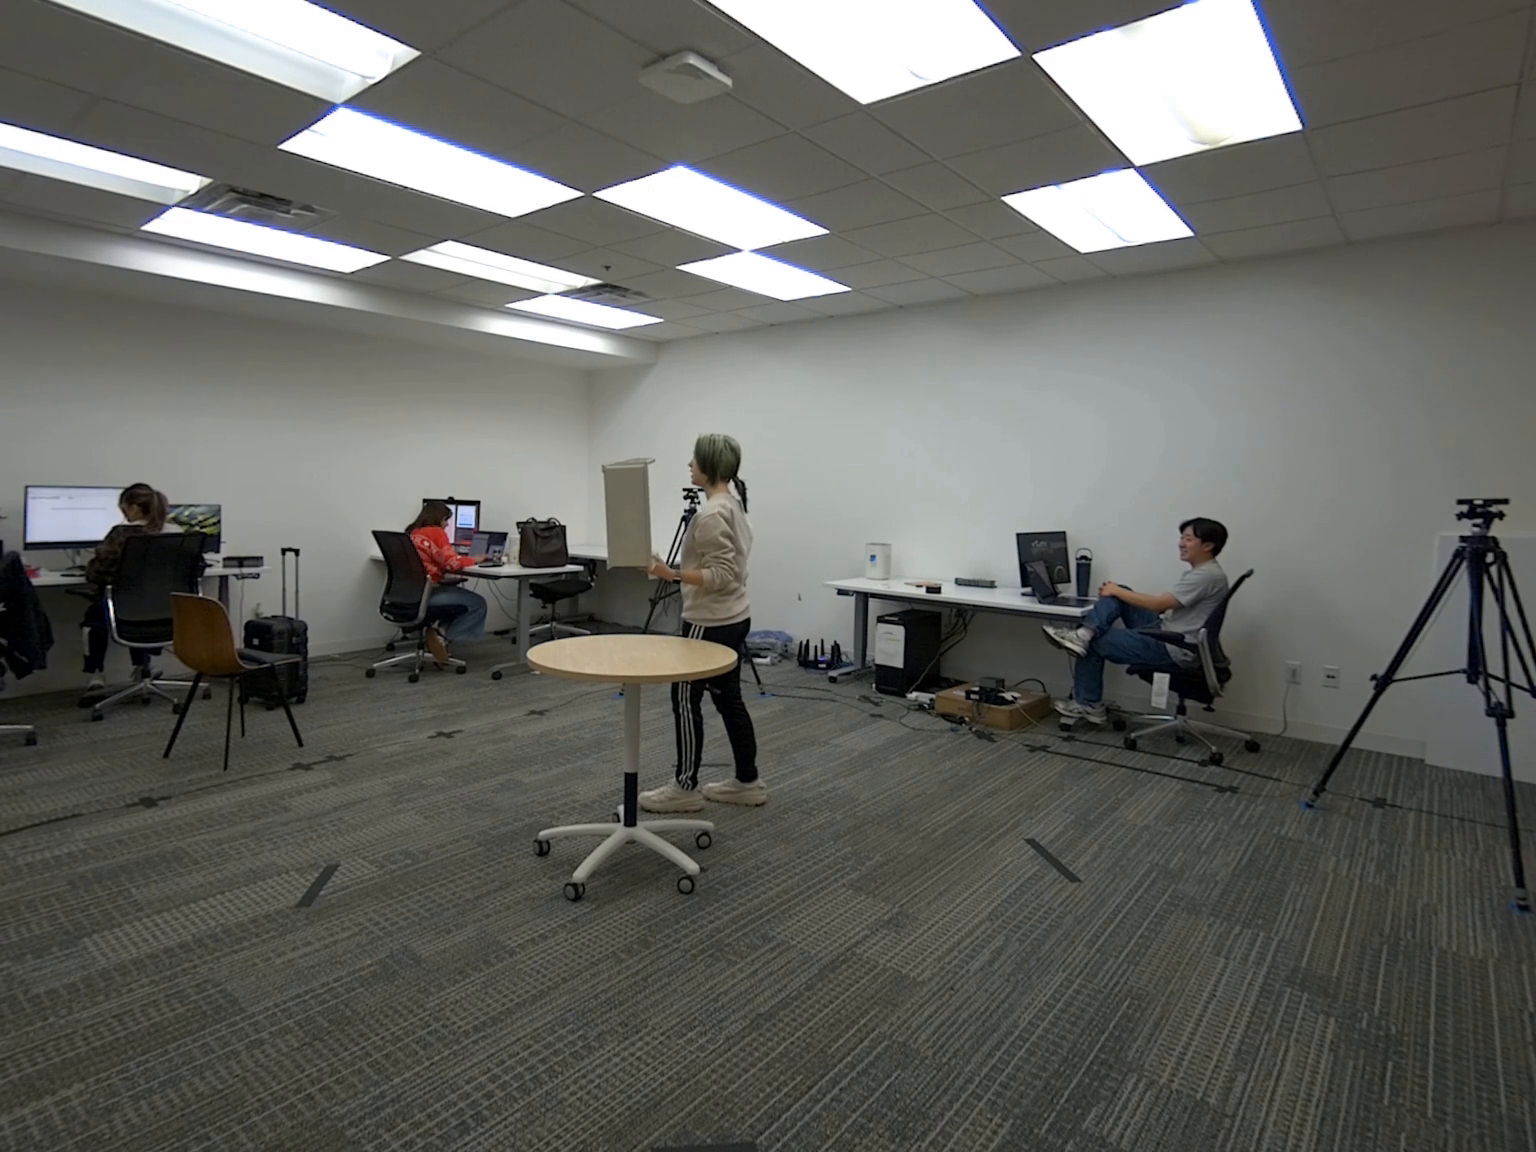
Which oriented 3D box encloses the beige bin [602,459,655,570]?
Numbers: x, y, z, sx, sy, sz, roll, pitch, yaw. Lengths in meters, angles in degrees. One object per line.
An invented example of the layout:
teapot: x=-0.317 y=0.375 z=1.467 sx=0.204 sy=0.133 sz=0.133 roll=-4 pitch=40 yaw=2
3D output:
beige bin: x=-0.544 y=-0.264 z=3.443 sx=0.189 sy=0.419 sz=0.380 roll=0 pitch=8 yaw=-1
